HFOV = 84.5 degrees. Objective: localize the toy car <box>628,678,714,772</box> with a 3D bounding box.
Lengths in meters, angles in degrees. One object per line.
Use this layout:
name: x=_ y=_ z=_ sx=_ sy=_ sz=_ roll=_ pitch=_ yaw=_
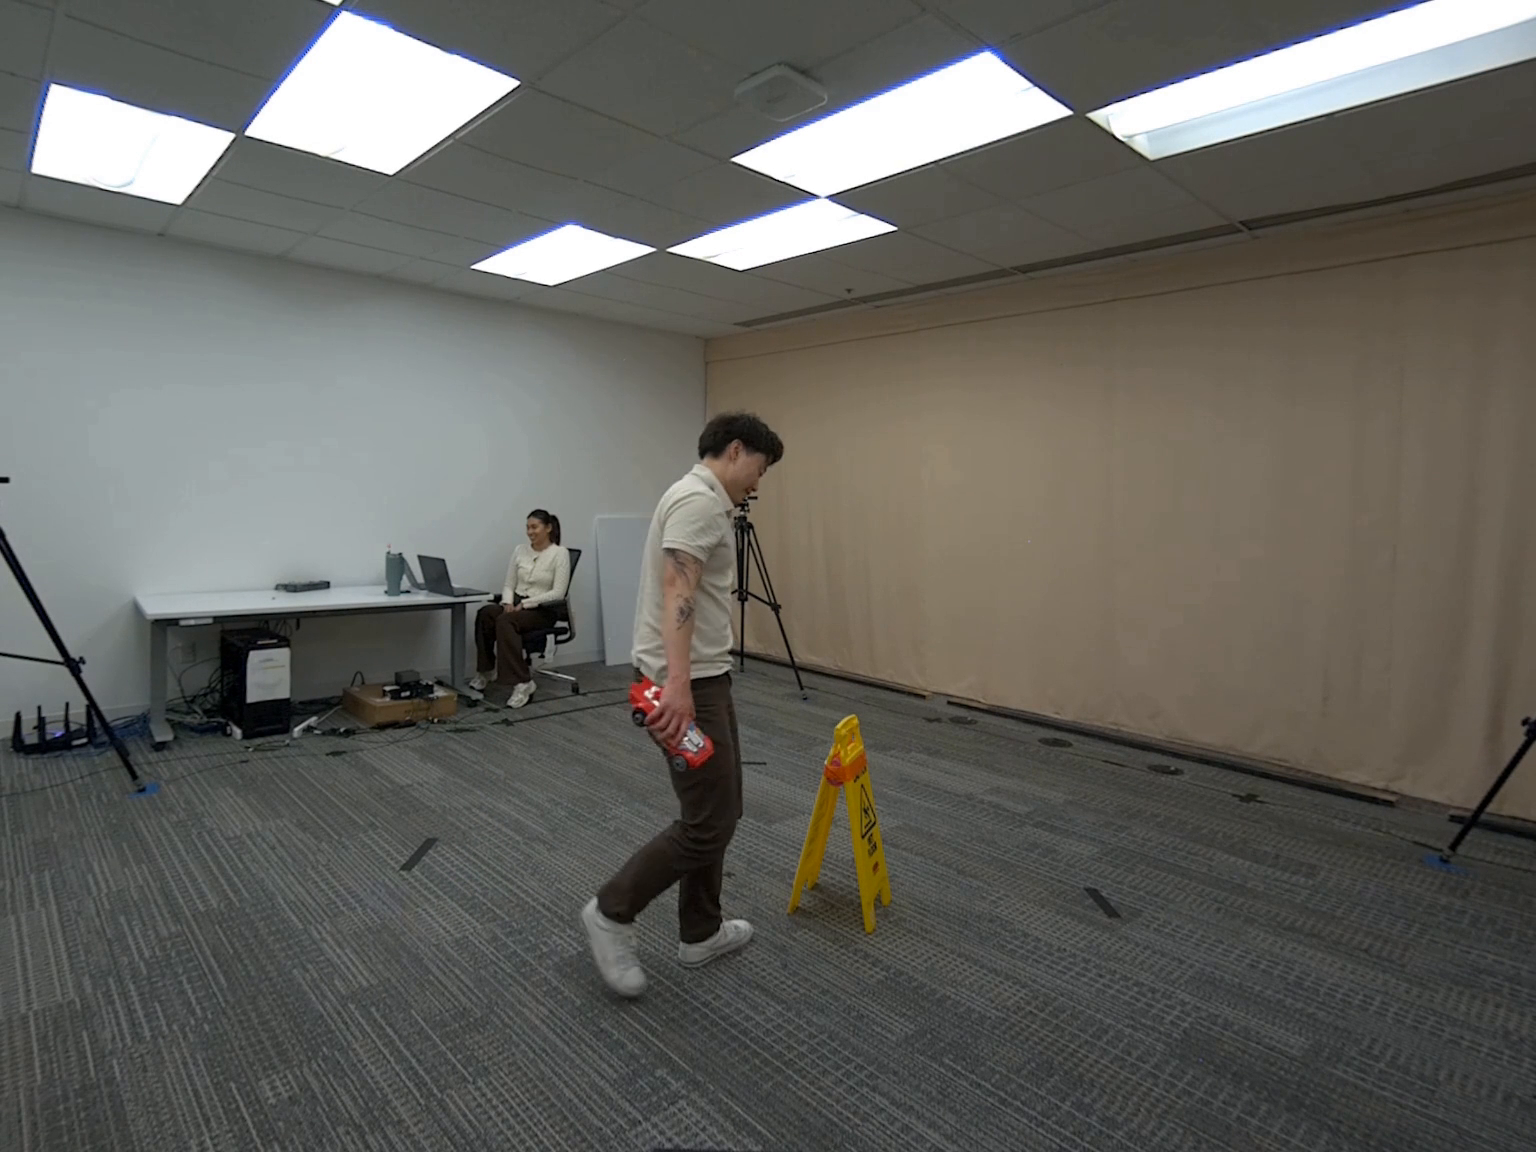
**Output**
toy car: x=-0.260 y=0.366 z=2.040 sx=0.083 sy=0.257 sz=0.129 roll=-42 pitch=-10 yaw=29
